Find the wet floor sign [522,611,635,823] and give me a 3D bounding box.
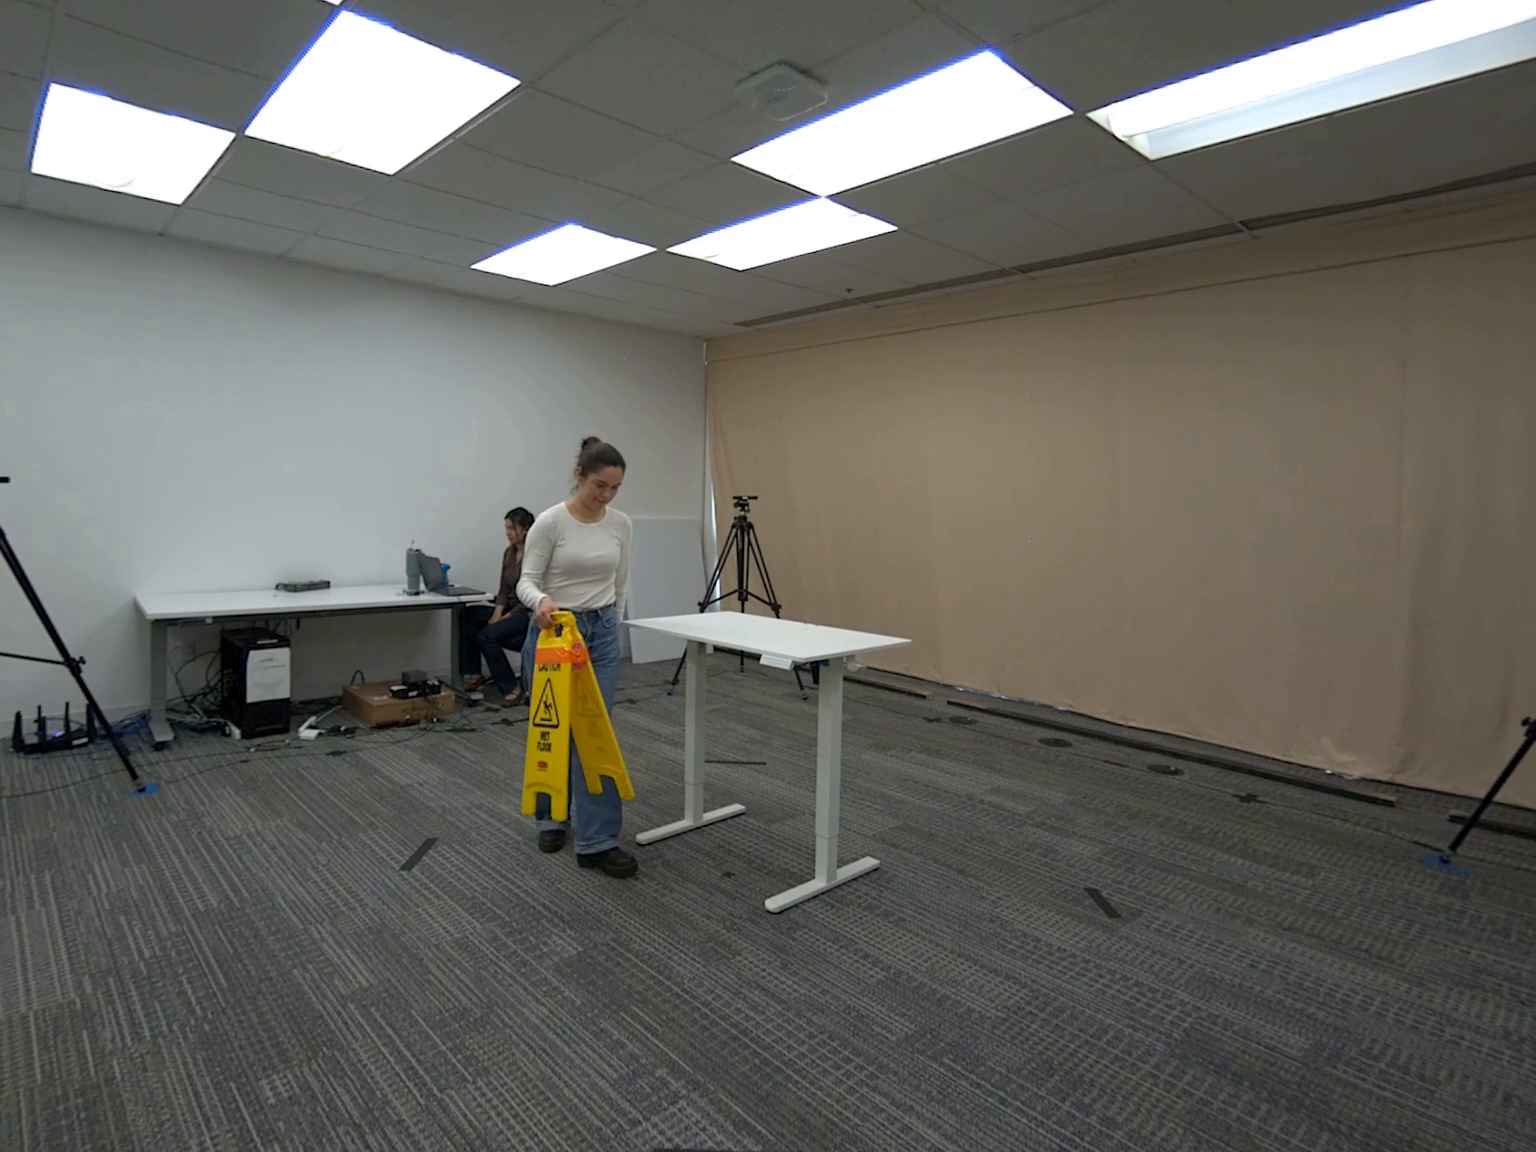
[{"bbox_3d":[-0.682,0.446,2.825,0.283,0.648,0.287,-6,-4,-42],"label":"wet floor sign"}]
